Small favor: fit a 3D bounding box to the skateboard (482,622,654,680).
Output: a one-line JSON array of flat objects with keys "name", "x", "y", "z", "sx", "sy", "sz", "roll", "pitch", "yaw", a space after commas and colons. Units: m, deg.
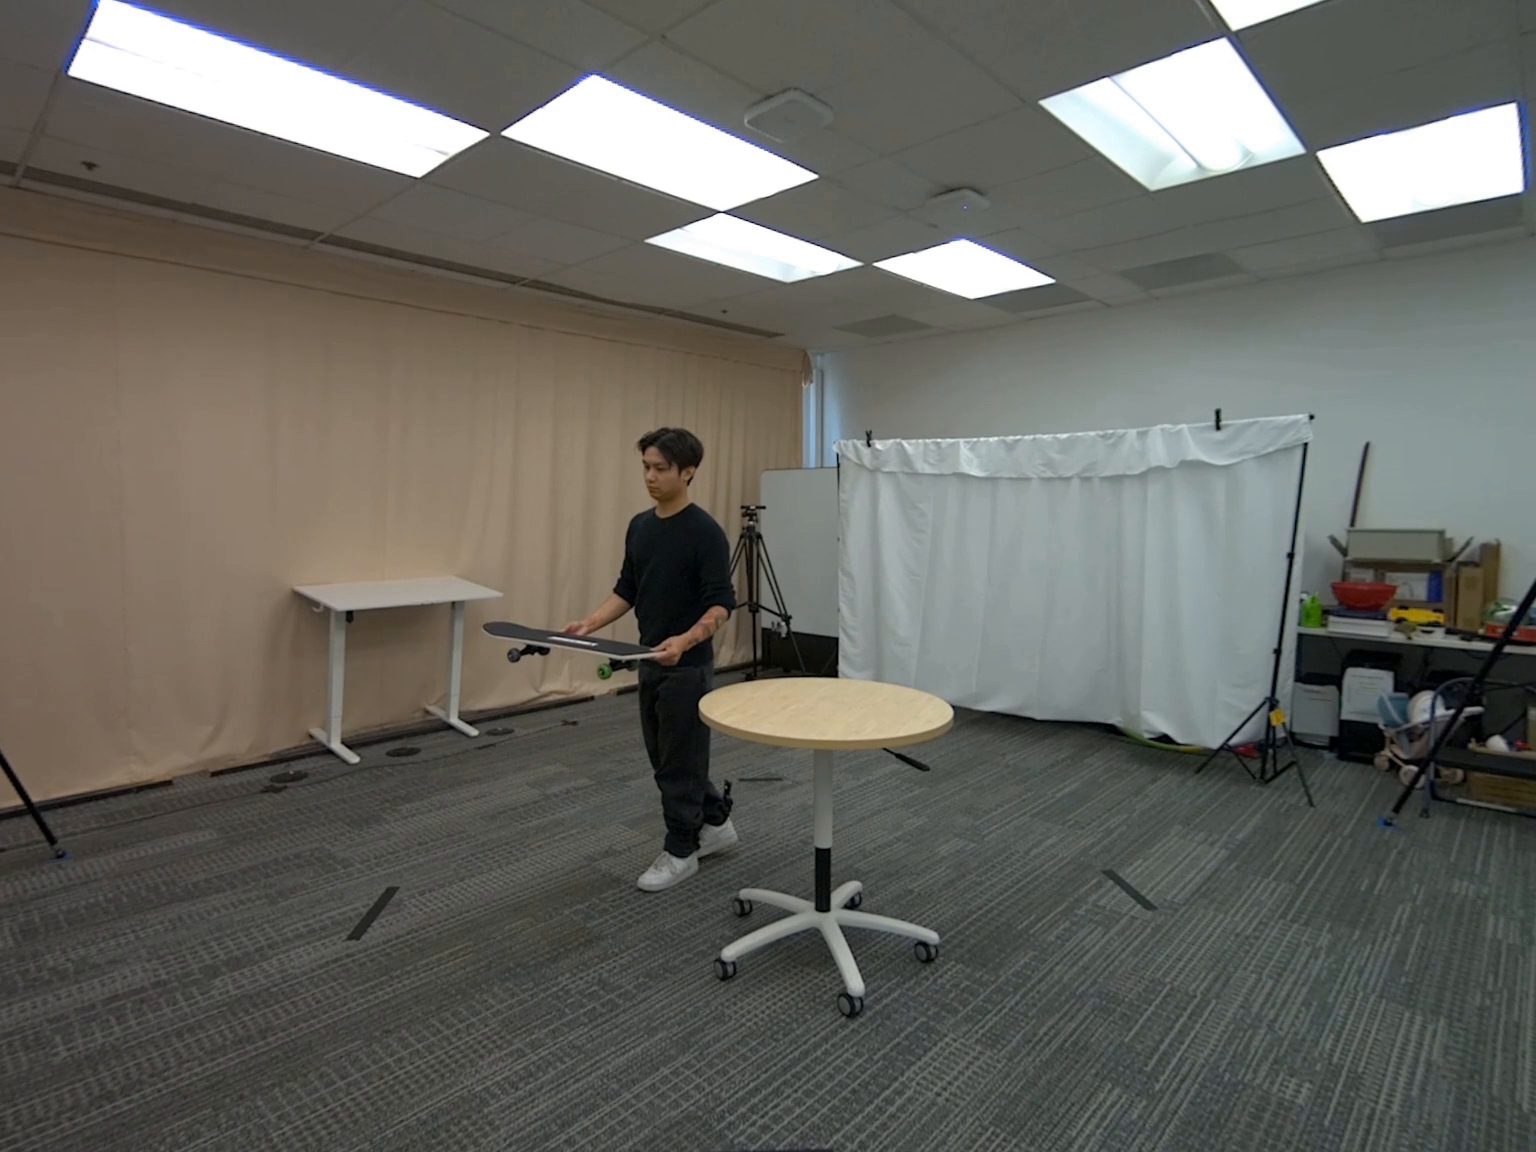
[{"name": "skateboard", "x": -0.675, "y": 0.261, "z": 2.916, "sx": 0.808, "sy": 0.110, "sz": 0.188, "roll": 5, "pitch": 7, "yaw": 29}]
